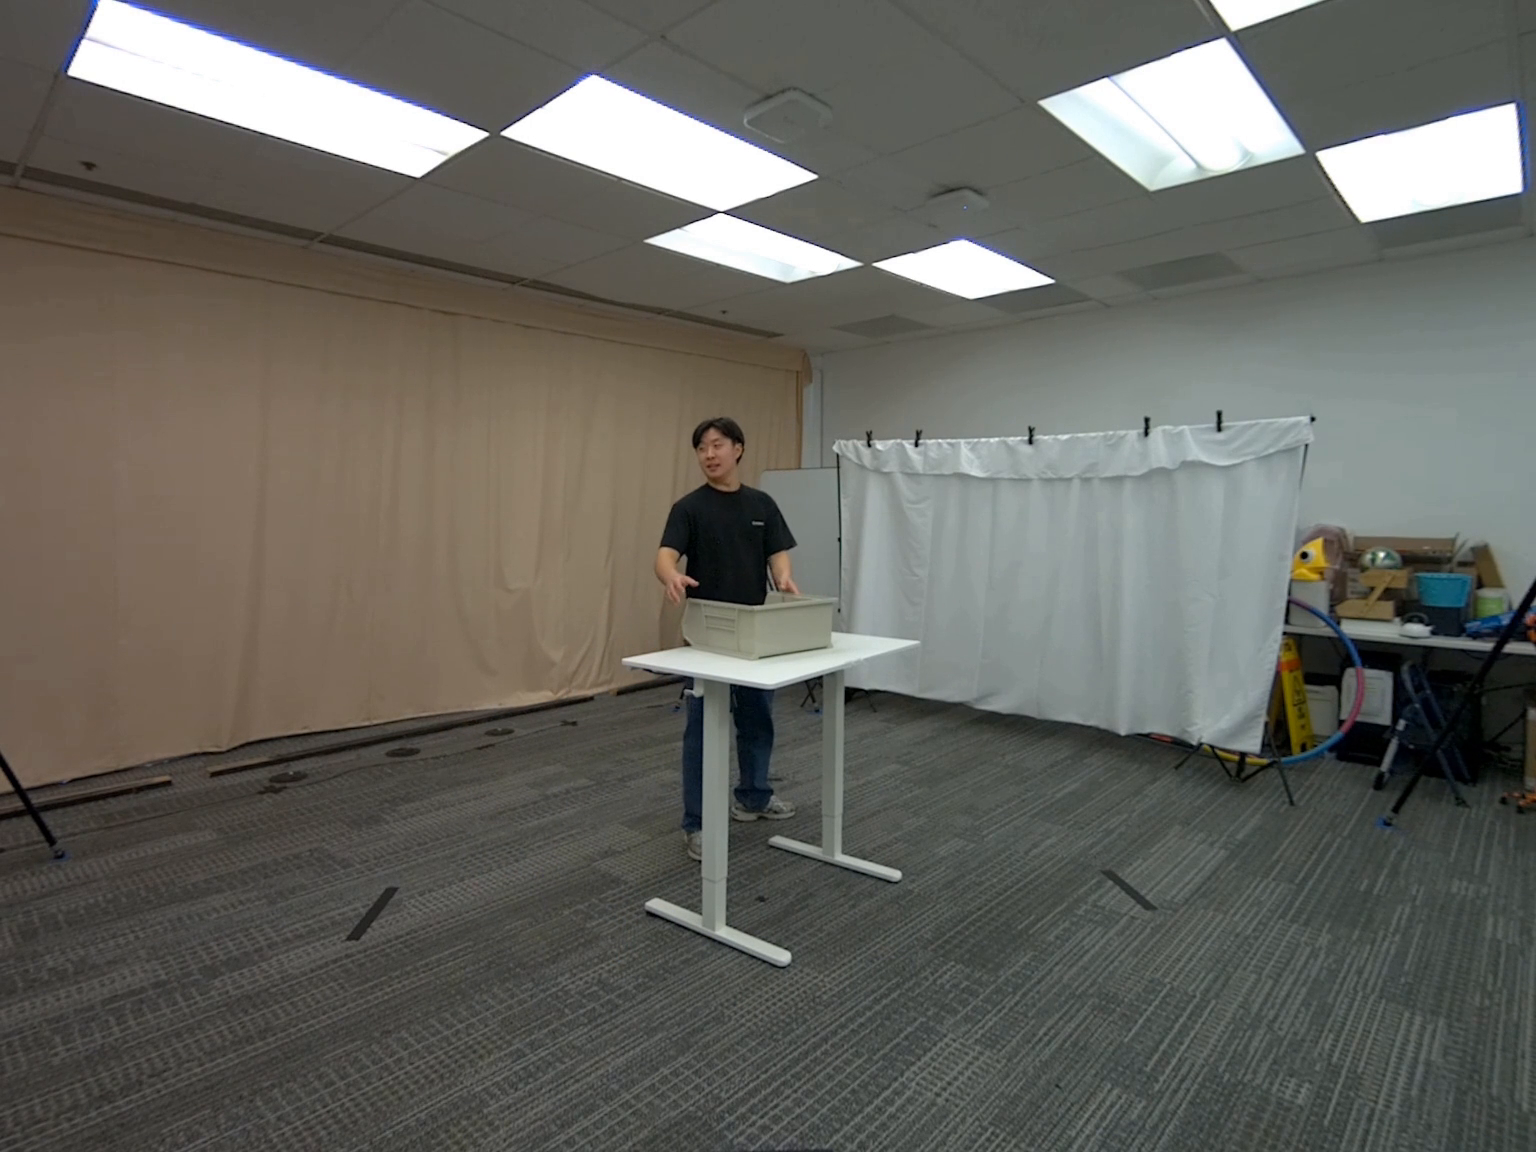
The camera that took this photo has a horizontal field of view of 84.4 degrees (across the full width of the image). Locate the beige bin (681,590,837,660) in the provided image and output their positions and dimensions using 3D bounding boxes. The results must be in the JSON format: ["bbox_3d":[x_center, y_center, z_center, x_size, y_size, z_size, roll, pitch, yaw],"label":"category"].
[{"bbox_3d":[-0.031,0.167,3.018,0.409,0.188,0.390,-3,7,-44],"label":"beige bin"}]
